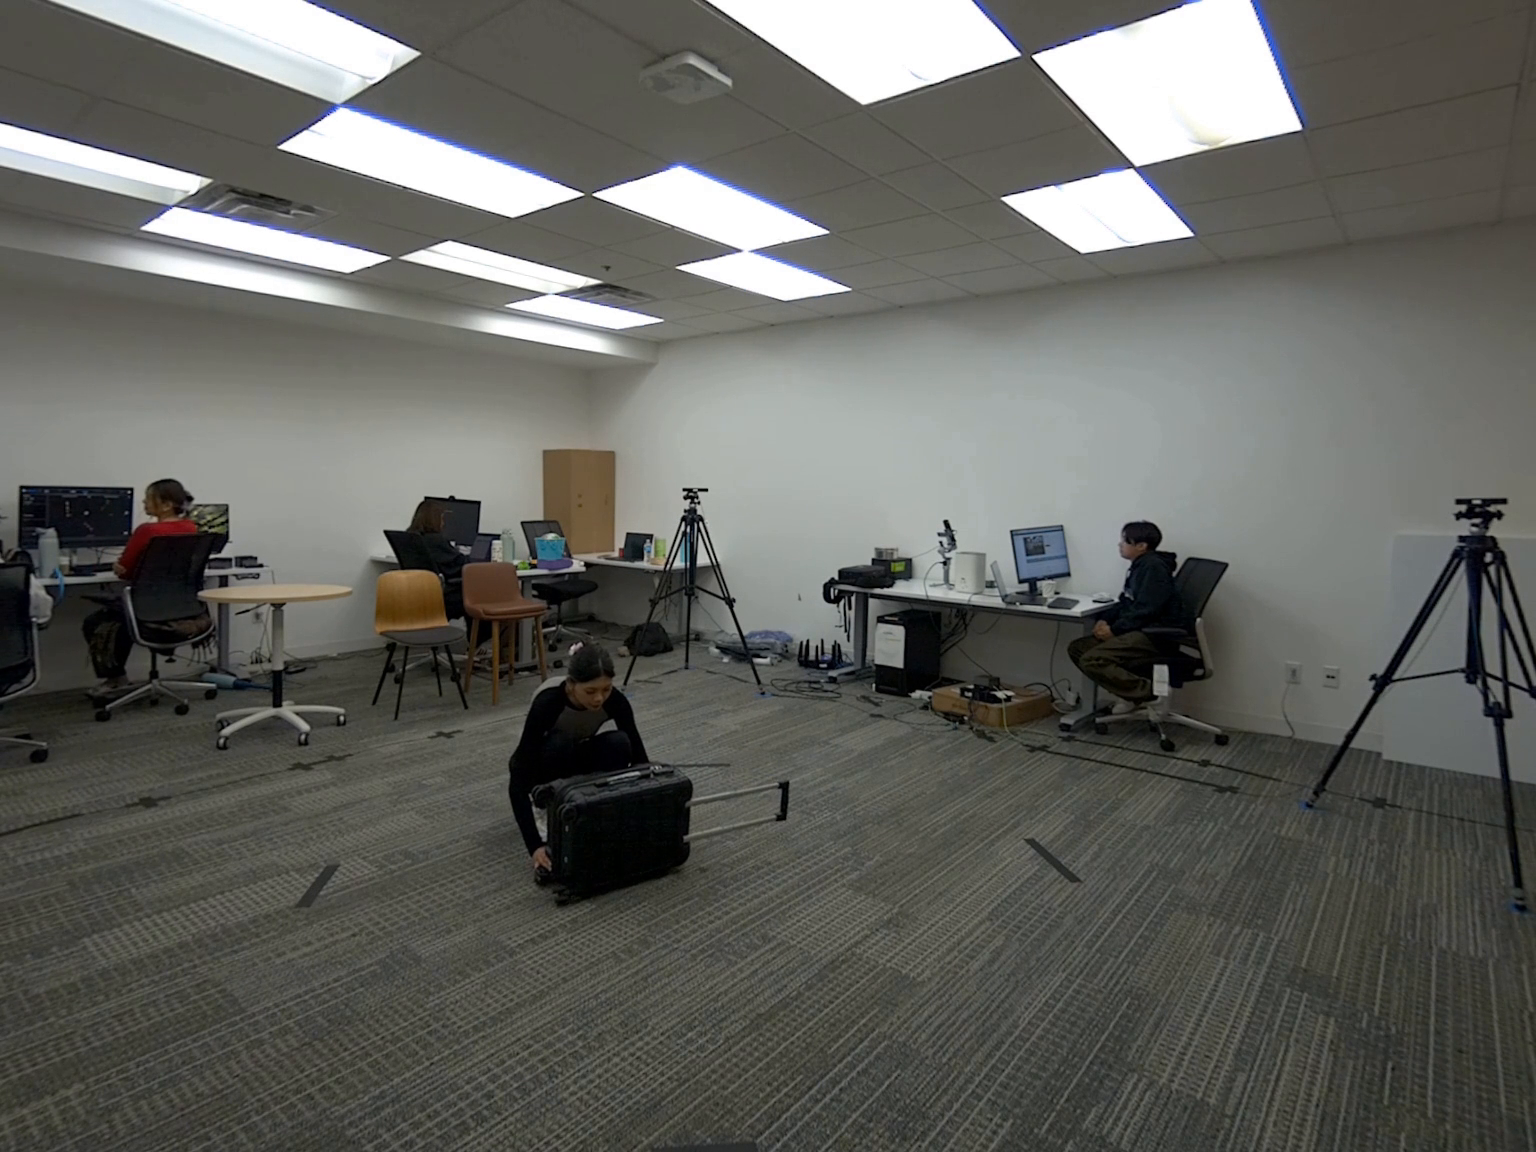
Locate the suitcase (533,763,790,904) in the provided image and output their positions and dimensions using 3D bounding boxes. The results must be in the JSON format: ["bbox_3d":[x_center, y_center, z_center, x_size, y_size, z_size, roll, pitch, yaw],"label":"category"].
[{"bbox_3d":[-0.382,0.873,3.153,0.950,0.382,0.266,-3,7,-37],"label":"suitcase"}]
